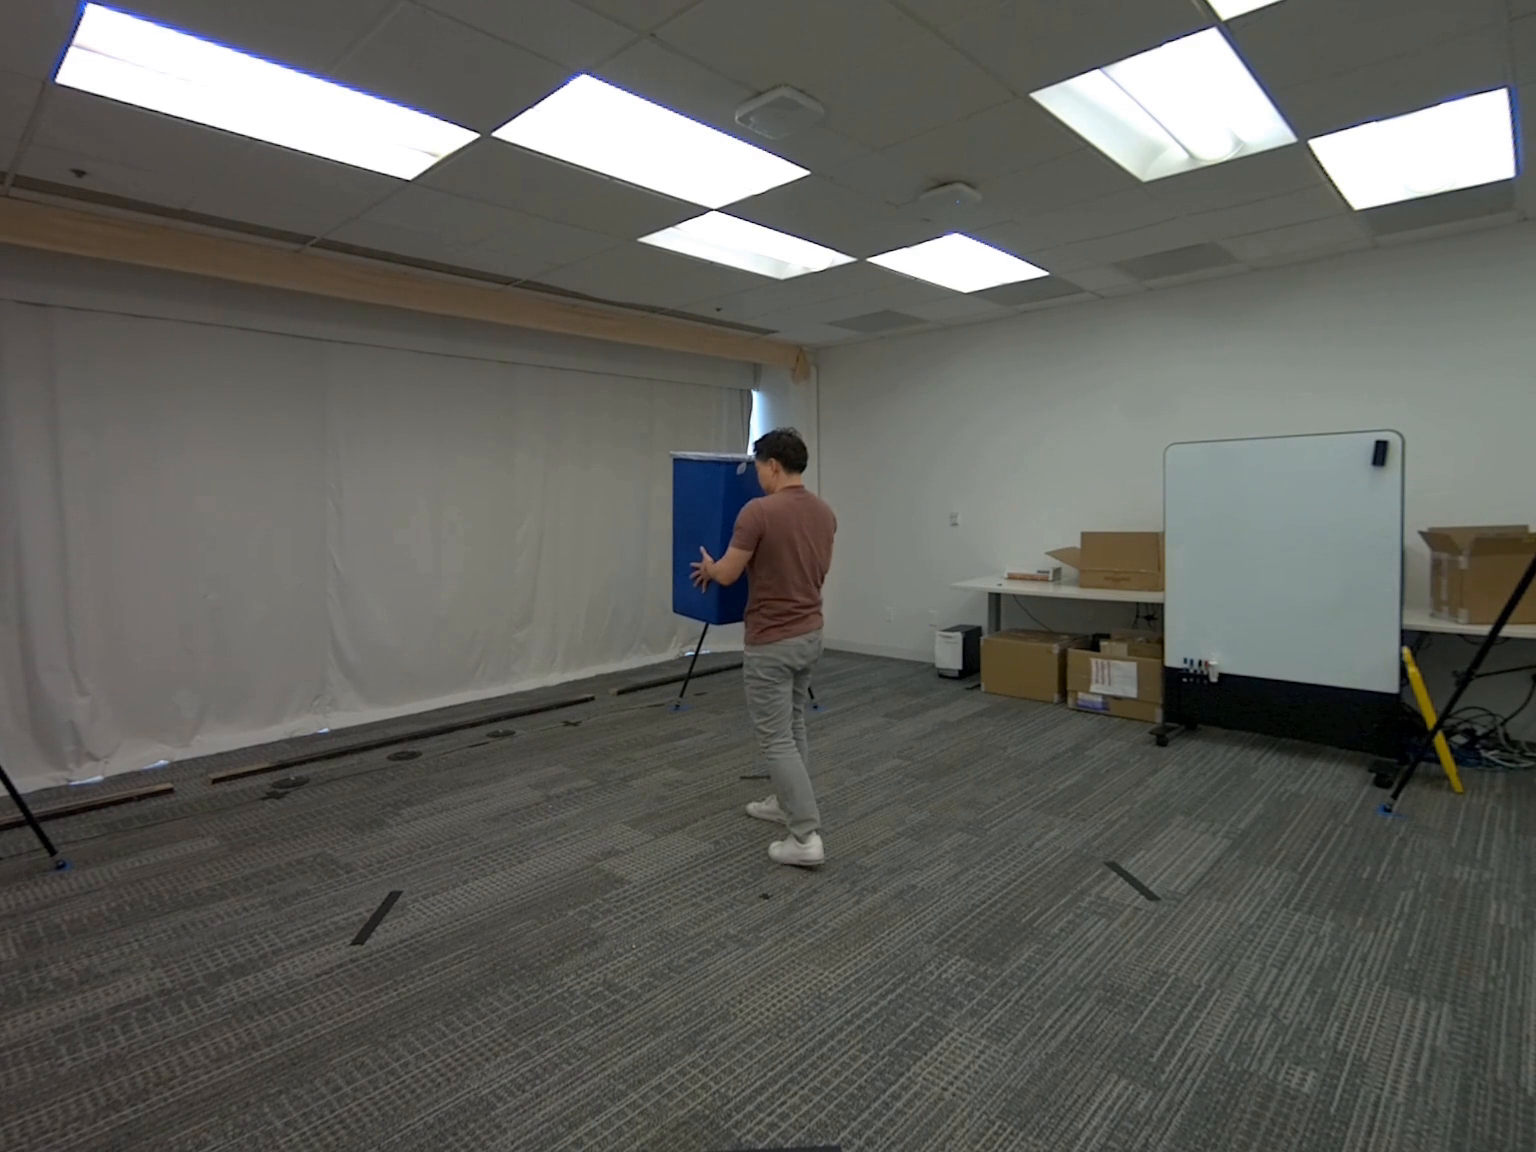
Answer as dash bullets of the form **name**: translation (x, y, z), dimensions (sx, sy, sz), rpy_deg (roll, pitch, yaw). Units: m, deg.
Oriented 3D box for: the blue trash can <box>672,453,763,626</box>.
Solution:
- **blue trash can**: translation (-0.206, -0.183, 3.701), dimensions (0.387, 0.710, 0.366), rpy_deg (12, 11, 44)
